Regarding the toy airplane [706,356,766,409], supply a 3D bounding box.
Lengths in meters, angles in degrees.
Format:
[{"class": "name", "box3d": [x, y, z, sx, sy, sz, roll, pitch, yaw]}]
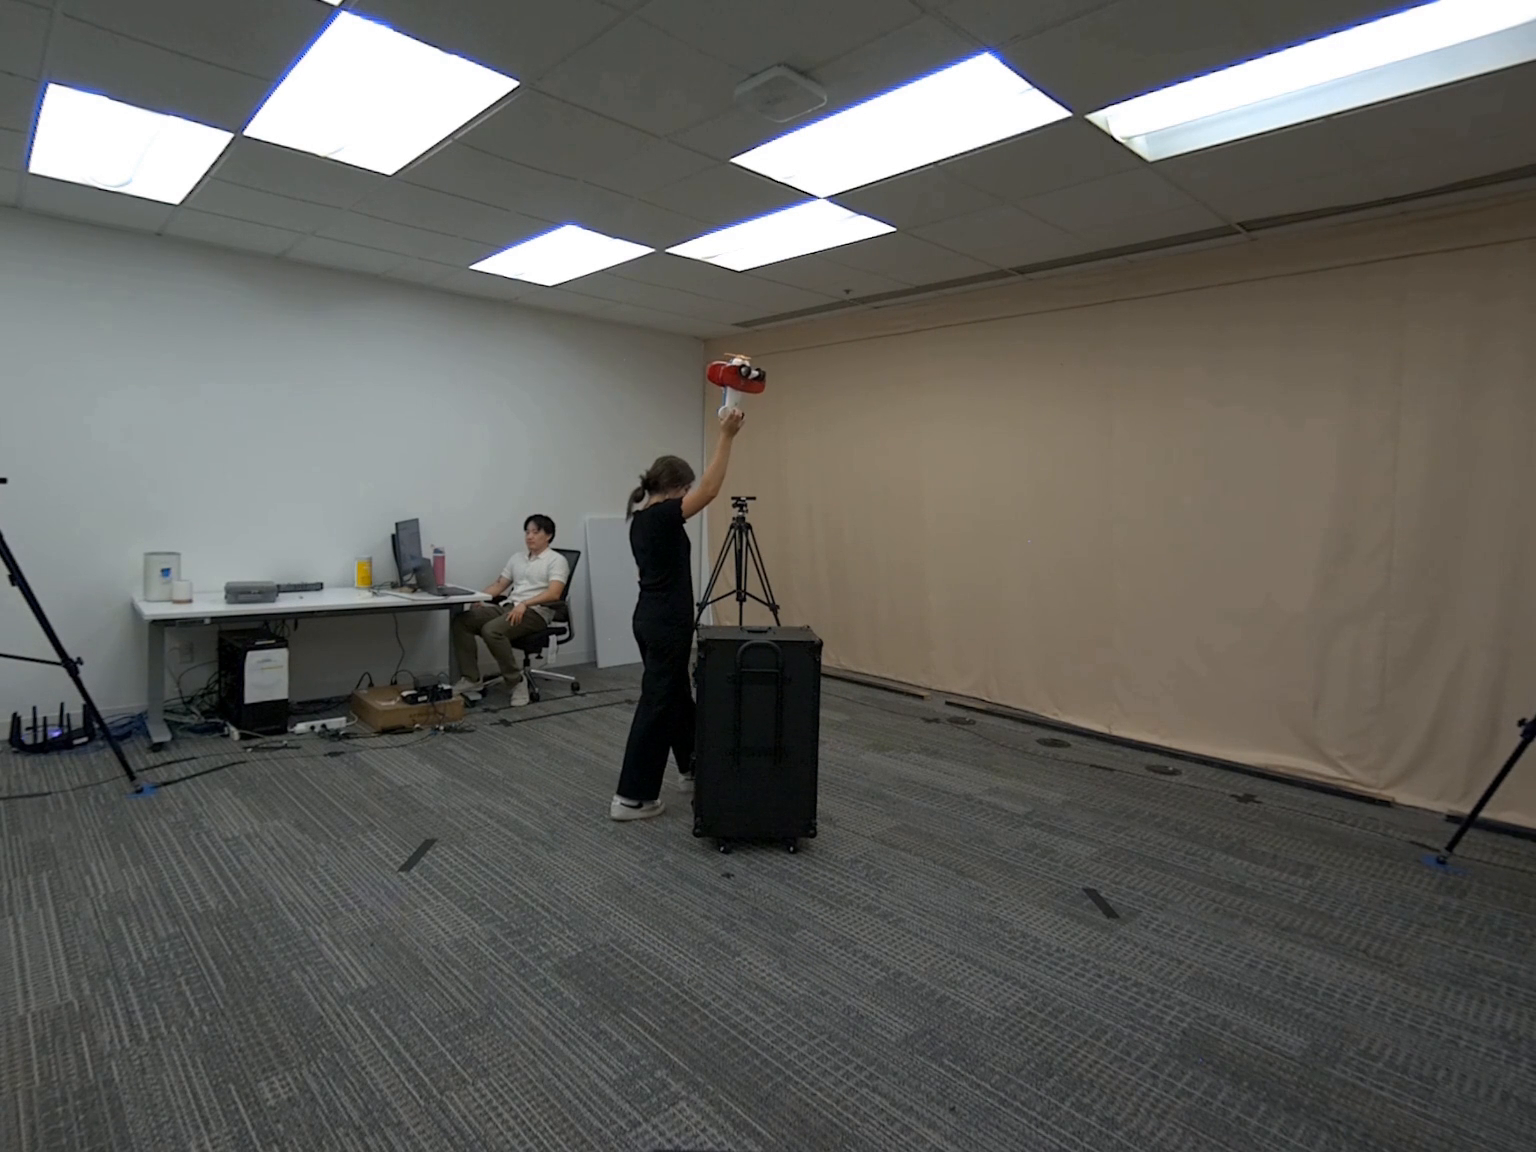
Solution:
[{"class": "toy airplane", "box3d": [-0.139, -0.752, 3.372, 0.161, 0.259, 0.243, 37, -6, 36]}]
